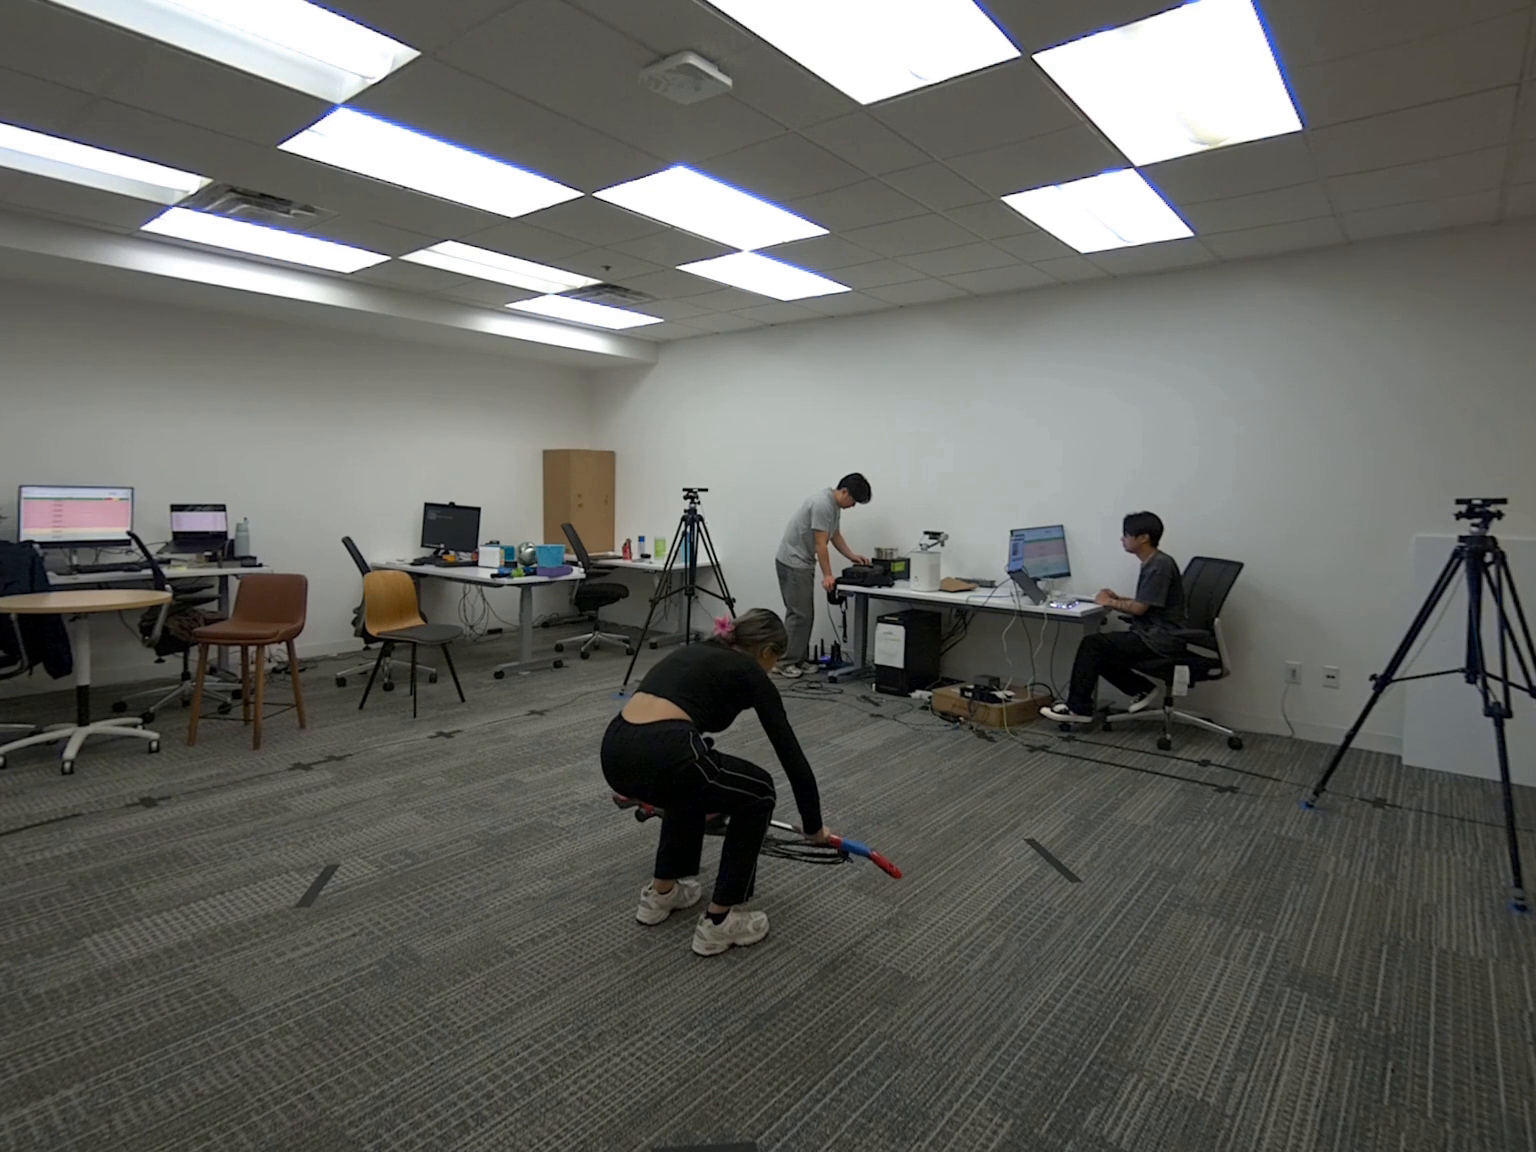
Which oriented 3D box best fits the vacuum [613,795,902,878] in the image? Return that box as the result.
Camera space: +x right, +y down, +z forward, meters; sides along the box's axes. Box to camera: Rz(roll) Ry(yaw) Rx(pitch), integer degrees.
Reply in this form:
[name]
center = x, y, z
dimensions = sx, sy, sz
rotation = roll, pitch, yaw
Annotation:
[vacuum]
center = -0.039, 0.875, 2.922
dimensions = 1.083, 0.142, 0.248
rotation = 5, 19, 35
